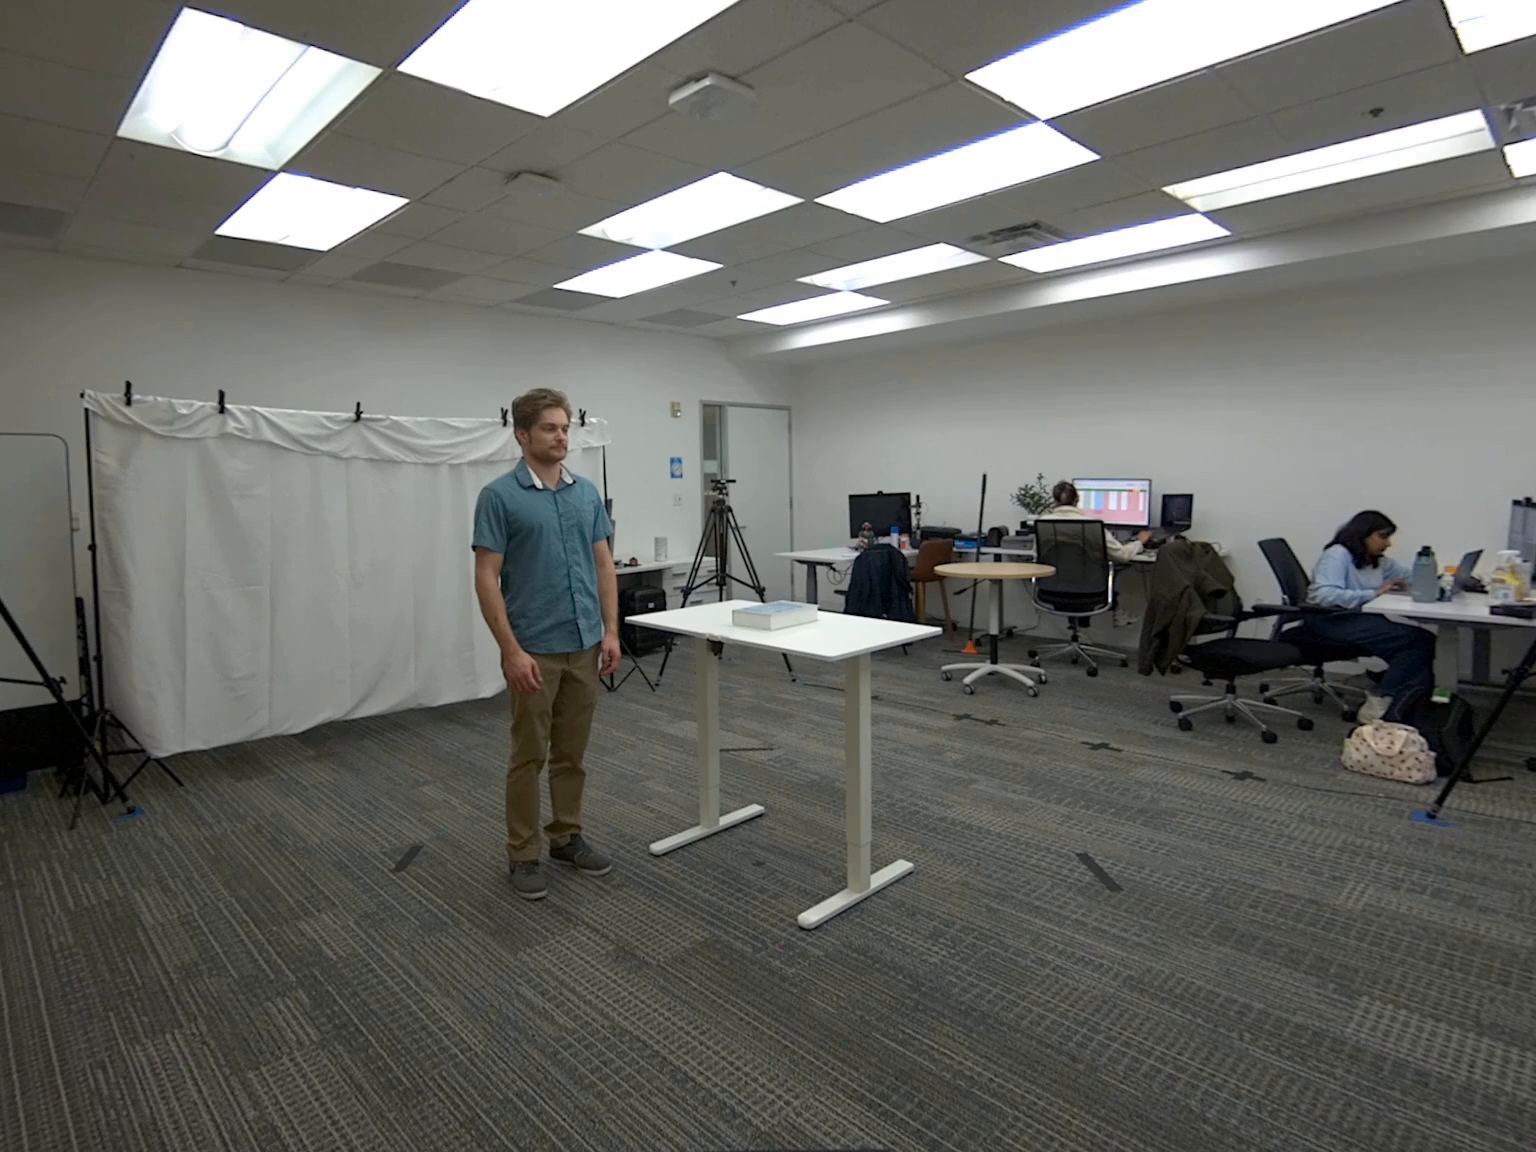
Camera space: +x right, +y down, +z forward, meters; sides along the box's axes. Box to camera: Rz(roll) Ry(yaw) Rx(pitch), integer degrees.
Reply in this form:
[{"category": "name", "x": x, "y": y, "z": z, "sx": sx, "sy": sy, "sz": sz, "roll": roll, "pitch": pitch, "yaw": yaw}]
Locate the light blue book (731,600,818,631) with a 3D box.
[{"category": "light blue book", "x": 0.030, "y": 0.140, "z": 3.053, "sx": 0.197, "sy": 0.059, "sz": 0.254, "roll": 4, "pitch": 8, "yaw": 43}]
